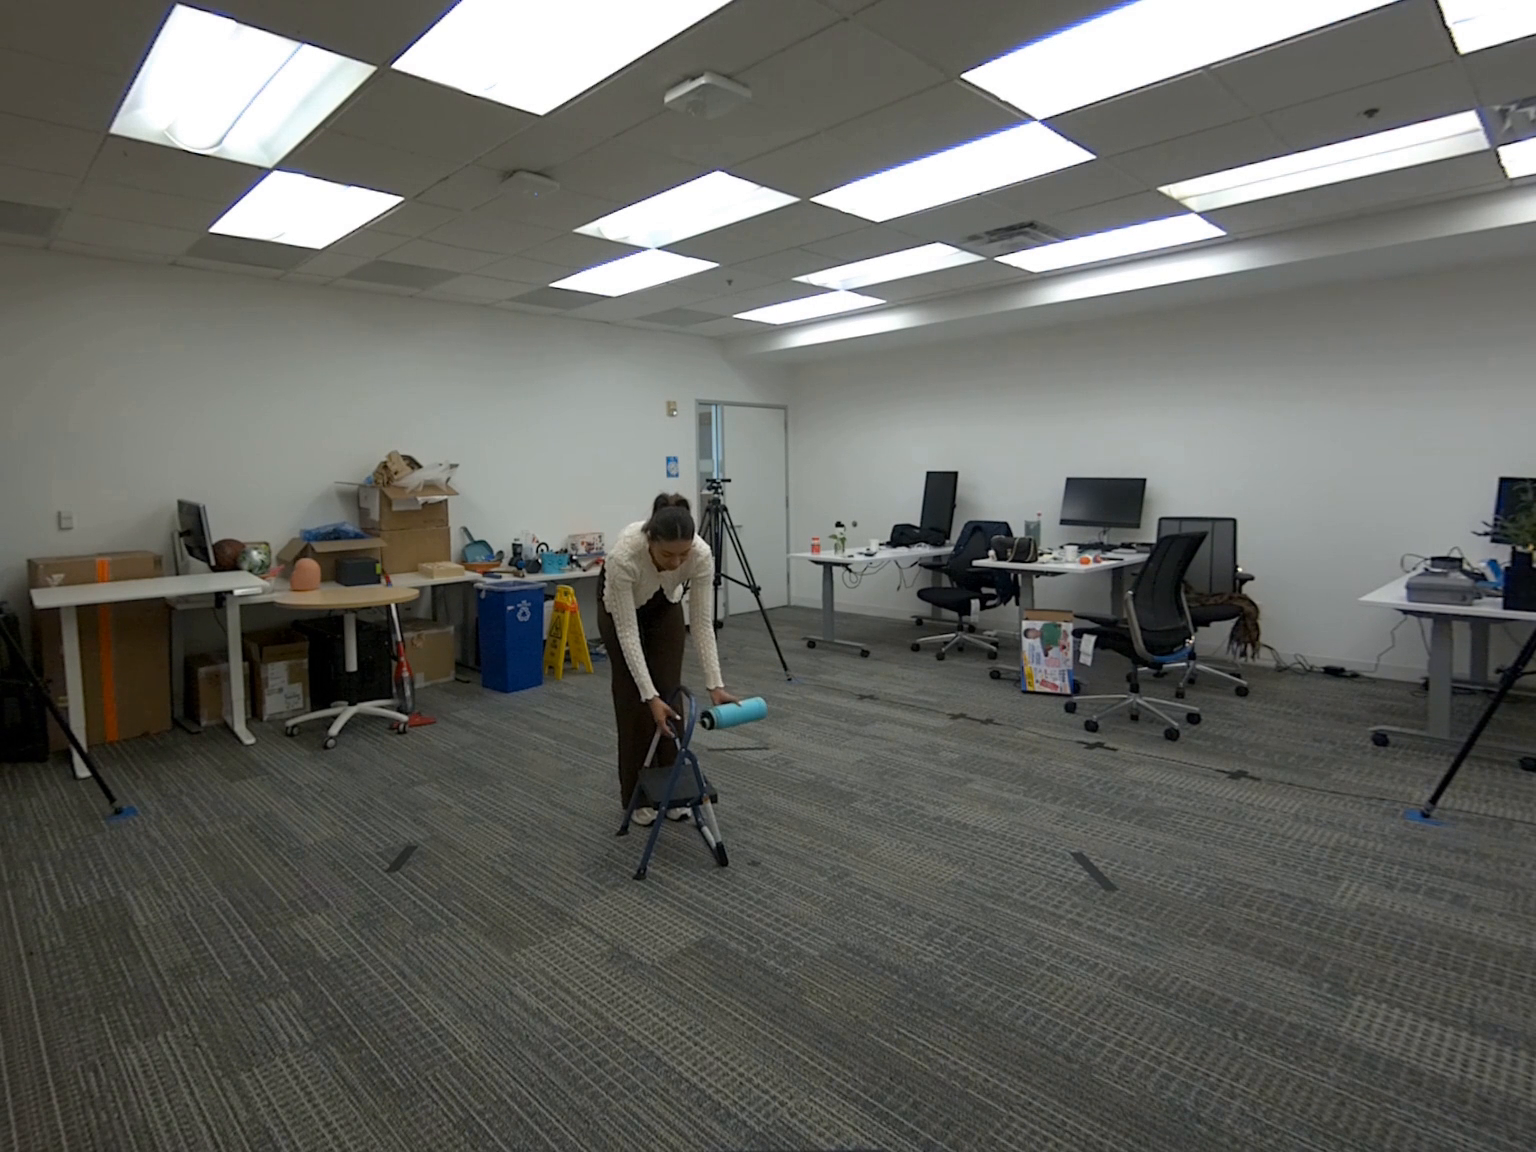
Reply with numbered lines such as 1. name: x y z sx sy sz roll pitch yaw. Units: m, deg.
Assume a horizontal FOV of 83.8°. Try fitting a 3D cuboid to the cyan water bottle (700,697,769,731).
1. cyan water bottle: -0.143 0.529 3.307 0.277 0.092 0.095 -7 8 -34
